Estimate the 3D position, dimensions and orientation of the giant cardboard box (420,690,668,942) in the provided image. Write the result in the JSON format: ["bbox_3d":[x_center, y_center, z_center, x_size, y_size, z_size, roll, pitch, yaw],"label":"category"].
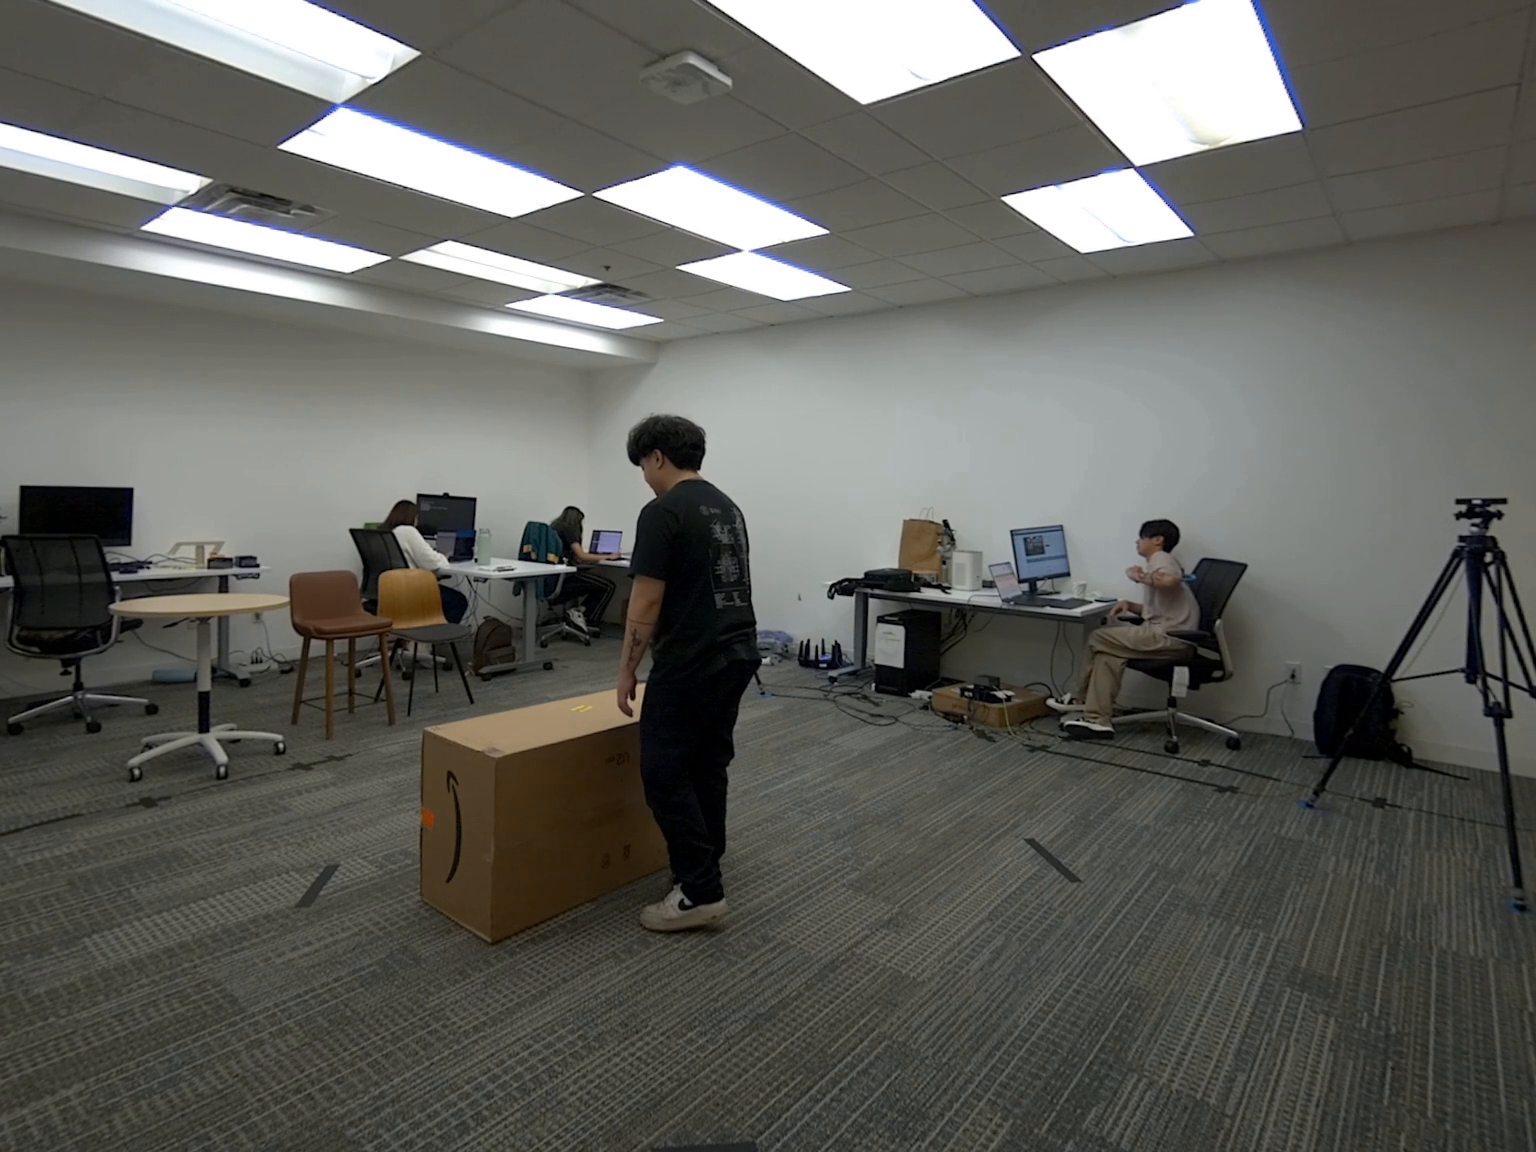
[{"bbox_3d":[-0.690,0.779,3.072,0.461,0.583,0.996,3,4,39],"label":"giant cardboard box"}]
